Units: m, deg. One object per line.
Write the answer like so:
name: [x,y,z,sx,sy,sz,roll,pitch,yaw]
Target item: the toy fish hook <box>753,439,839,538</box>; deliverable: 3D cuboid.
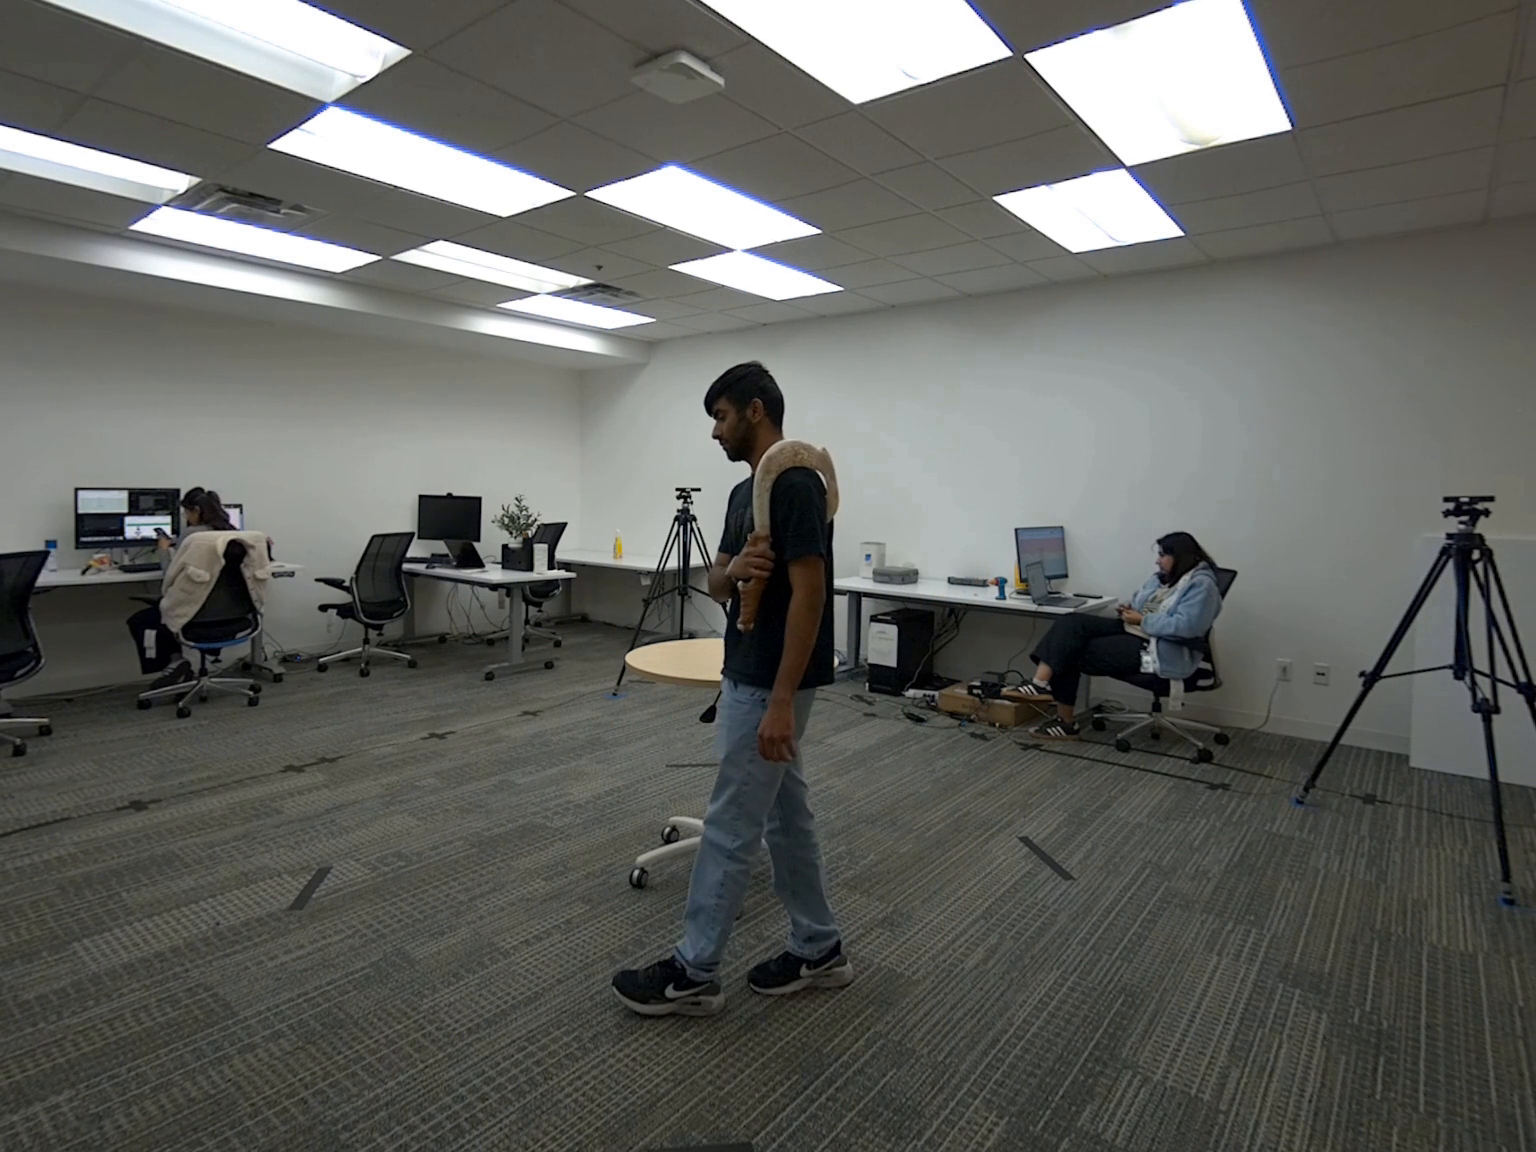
toy fish hook: [0.044,-0.099,2.158,0.225,0.507,0.048,12,-1,0]
